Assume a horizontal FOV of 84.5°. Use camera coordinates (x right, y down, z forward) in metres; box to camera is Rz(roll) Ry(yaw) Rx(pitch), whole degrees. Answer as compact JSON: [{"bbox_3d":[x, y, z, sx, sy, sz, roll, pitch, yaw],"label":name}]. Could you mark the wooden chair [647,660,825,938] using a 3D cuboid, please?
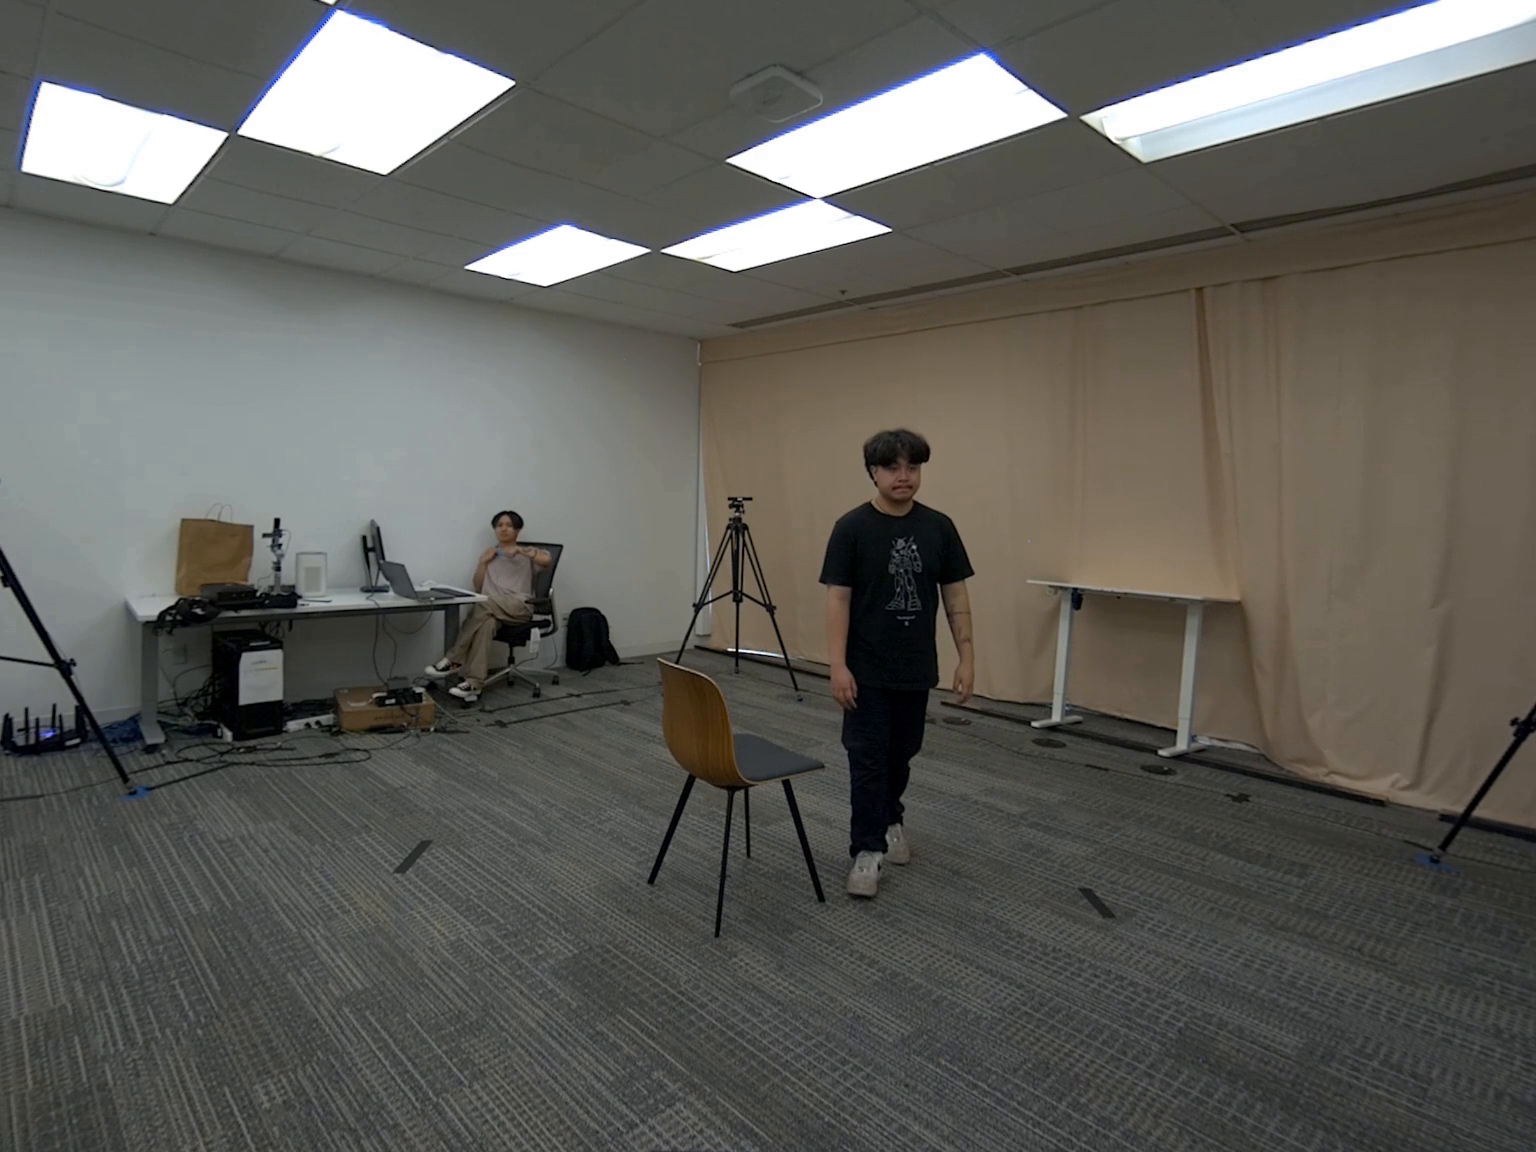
[{"bbox_3d":[-0.110,0.696,2.947,0.512,0.874,0.490,-6,7,-36],"label":"wooden chair"}]
